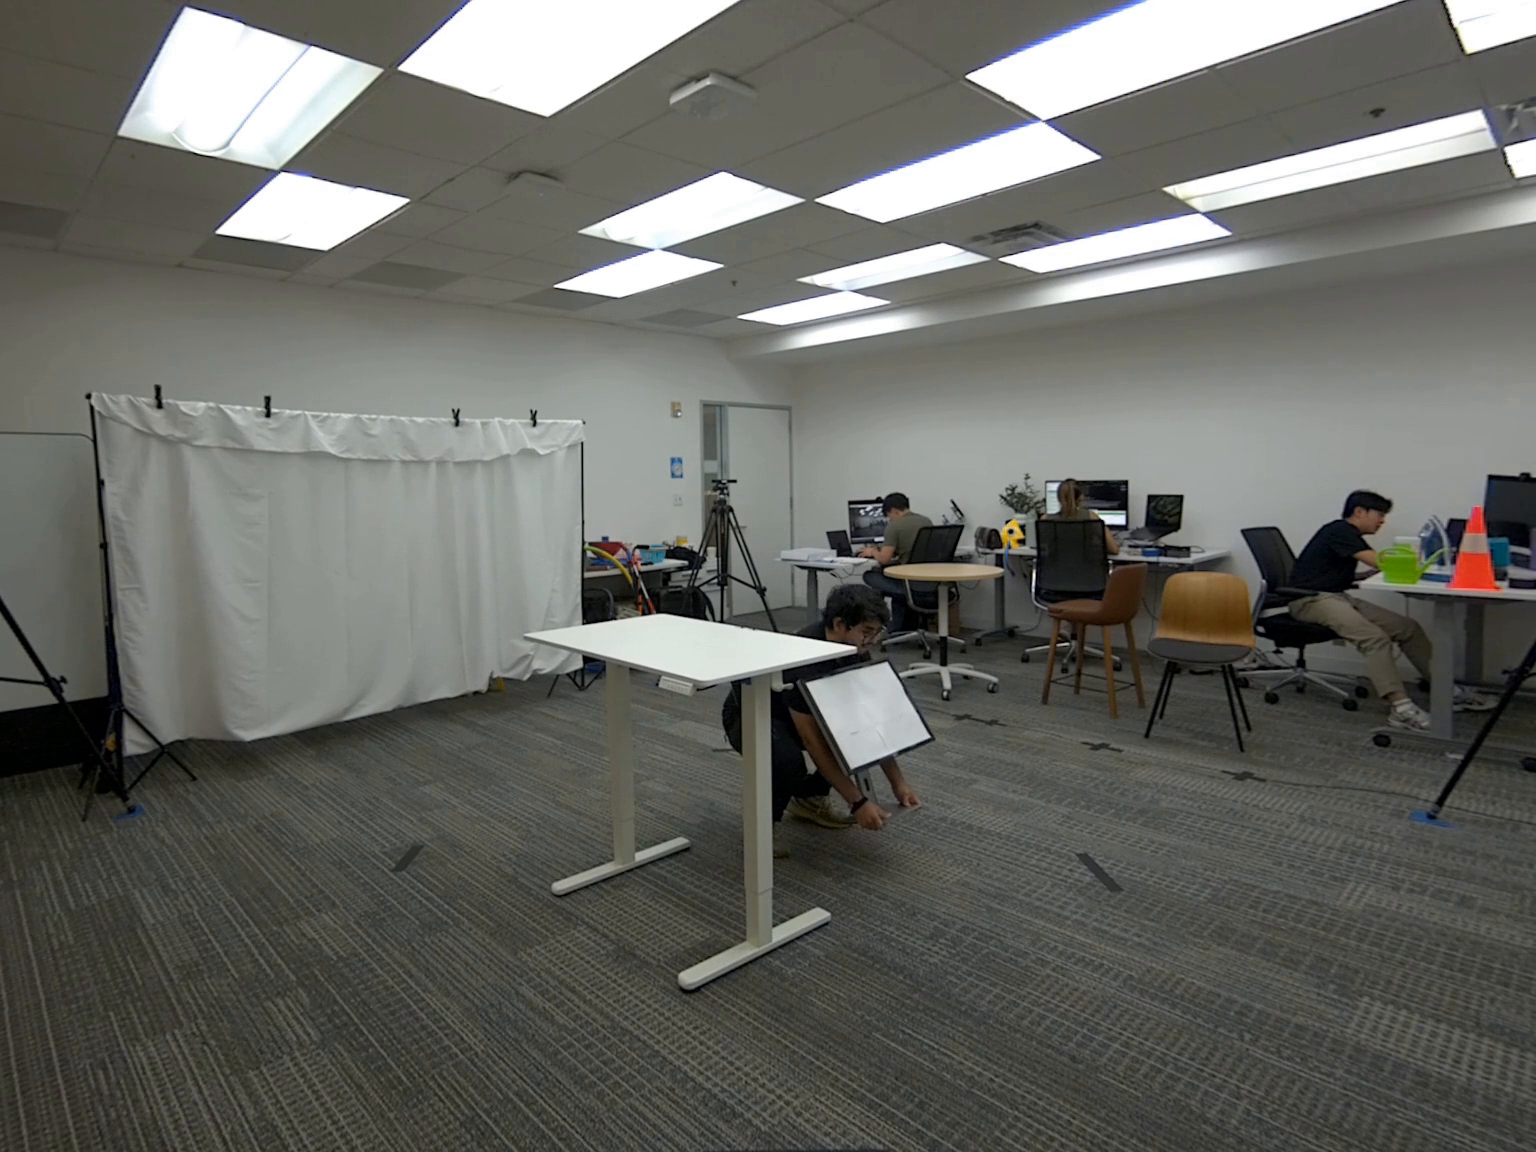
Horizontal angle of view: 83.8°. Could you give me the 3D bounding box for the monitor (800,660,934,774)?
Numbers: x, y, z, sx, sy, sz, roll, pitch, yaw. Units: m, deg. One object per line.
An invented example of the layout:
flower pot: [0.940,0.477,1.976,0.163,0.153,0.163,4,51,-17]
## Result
monitor: [0.348,0.605,3.142,0.550,0.565,0.212,-5,-23,-47]
